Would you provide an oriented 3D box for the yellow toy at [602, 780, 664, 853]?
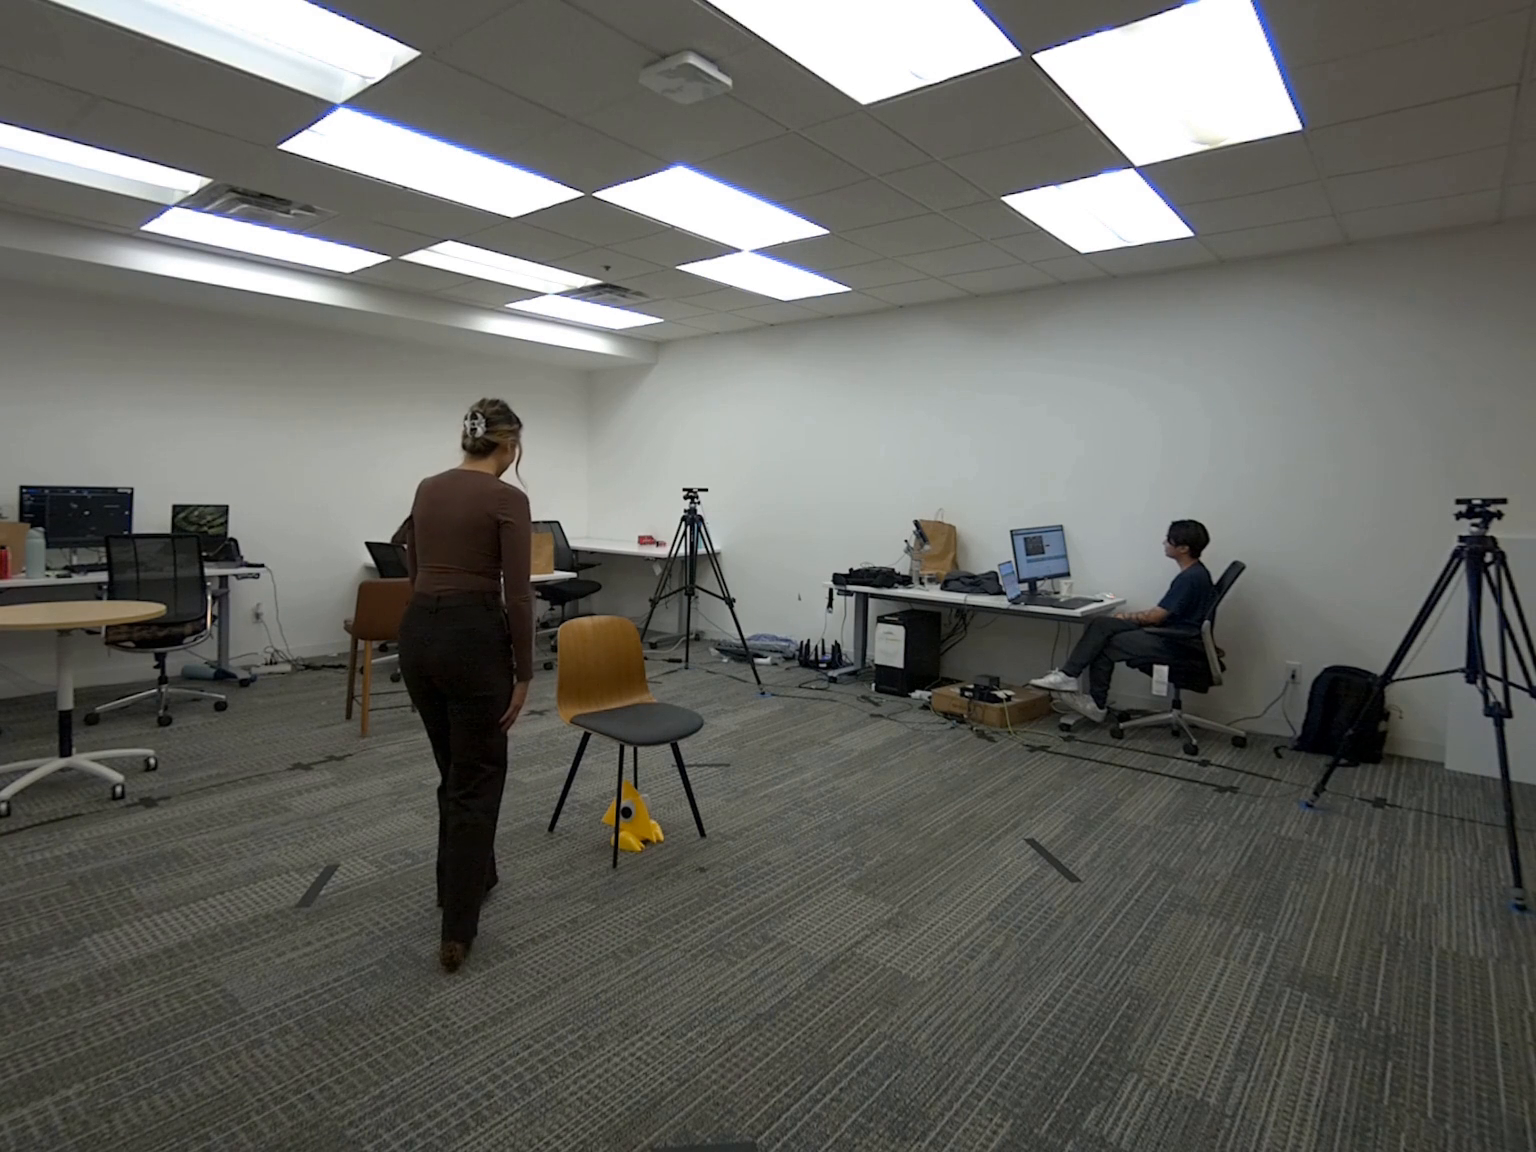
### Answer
[{"bbox_3d":[-0.534,0.930,3.364,0.199,0.230,0.199,3,4,39],"label":"yellow toy"}]
